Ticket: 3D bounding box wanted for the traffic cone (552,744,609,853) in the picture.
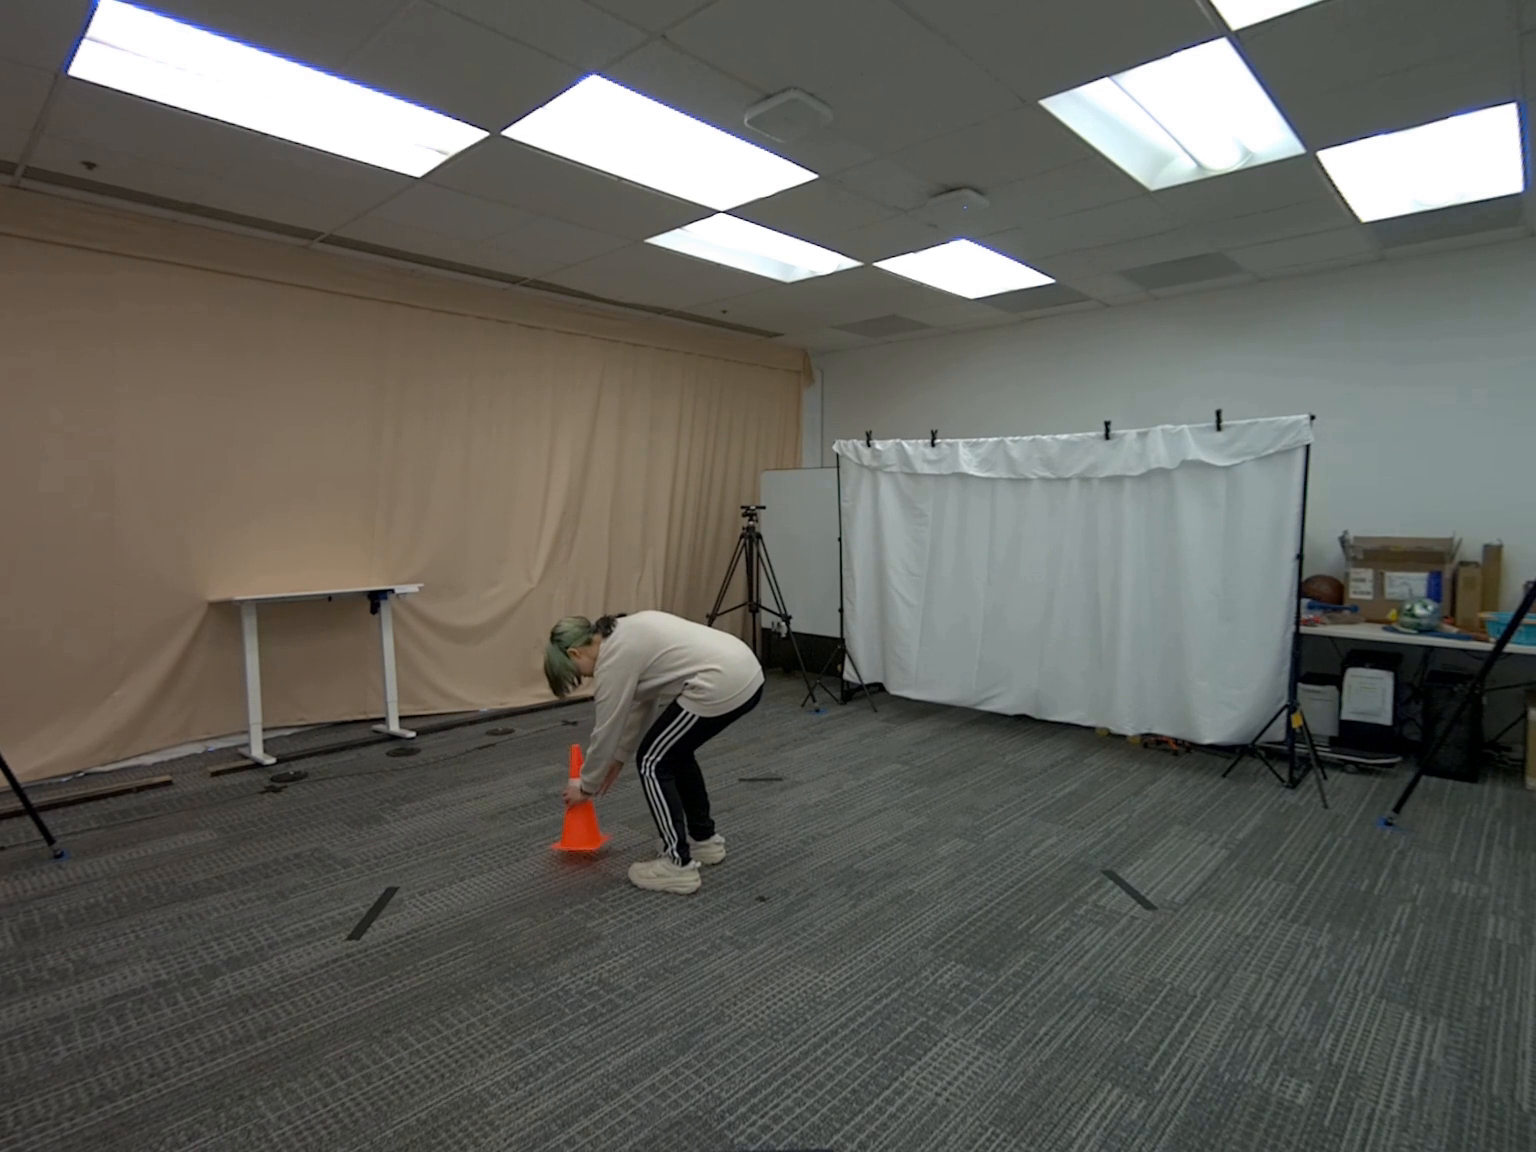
[{"bbox_3d":[-0.747,0.873,3.333,0.207,0.384,0.201,-3,0,7],"label":"traffic cone"}]
